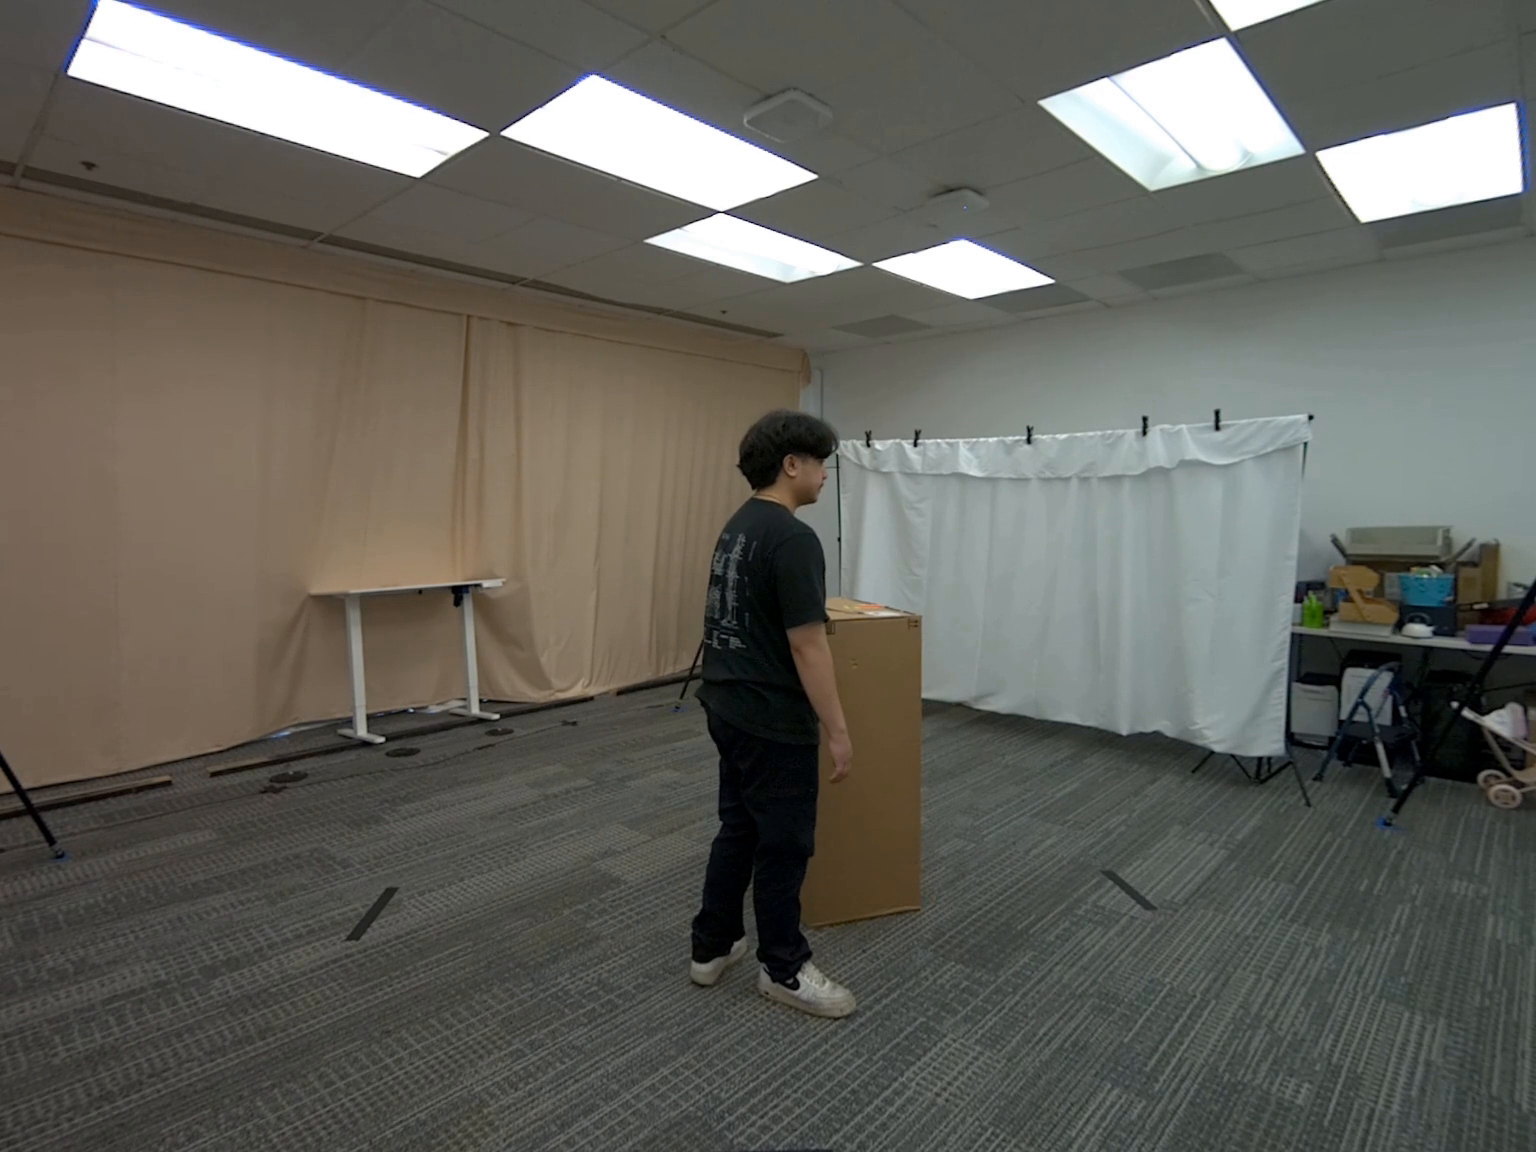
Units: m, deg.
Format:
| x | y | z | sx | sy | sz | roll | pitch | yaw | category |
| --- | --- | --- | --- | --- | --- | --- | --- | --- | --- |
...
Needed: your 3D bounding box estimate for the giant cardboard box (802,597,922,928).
| x | y | z | sx | sy | sz | roll | pitch | yaw | category |
| --- | --- | --- | --- | --- | --- | --- | --- | --- | --- |
| 0.230 | 0.622 | 3.078 | 0.438 | 1.025 | 0.597 | -1 | 3 | -21 | giant cardboard box |
